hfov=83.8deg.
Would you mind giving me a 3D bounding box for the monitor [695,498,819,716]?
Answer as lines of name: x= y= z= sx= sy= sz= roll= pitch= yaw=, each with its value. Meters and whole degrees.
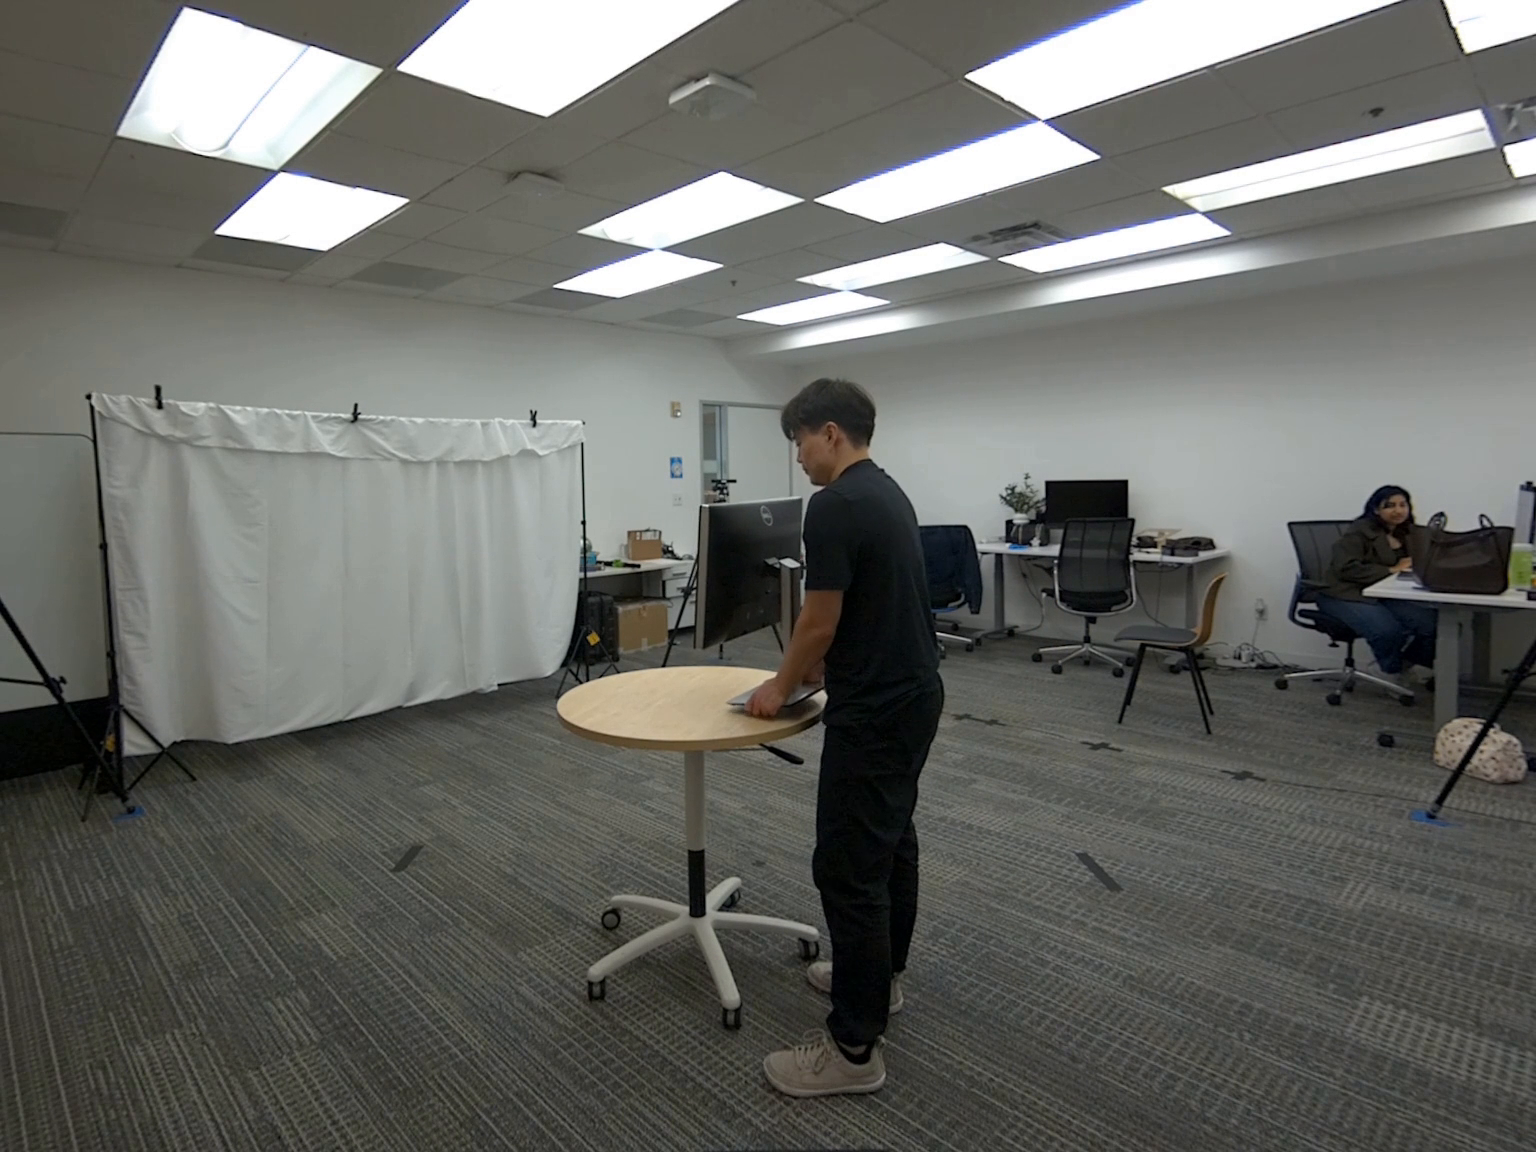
monitor: x=0.003 y=0.062 z=2.330 sx=0.191 sy=0.522 sz=0.528 roll=-7 pitch=2 yaw=28
